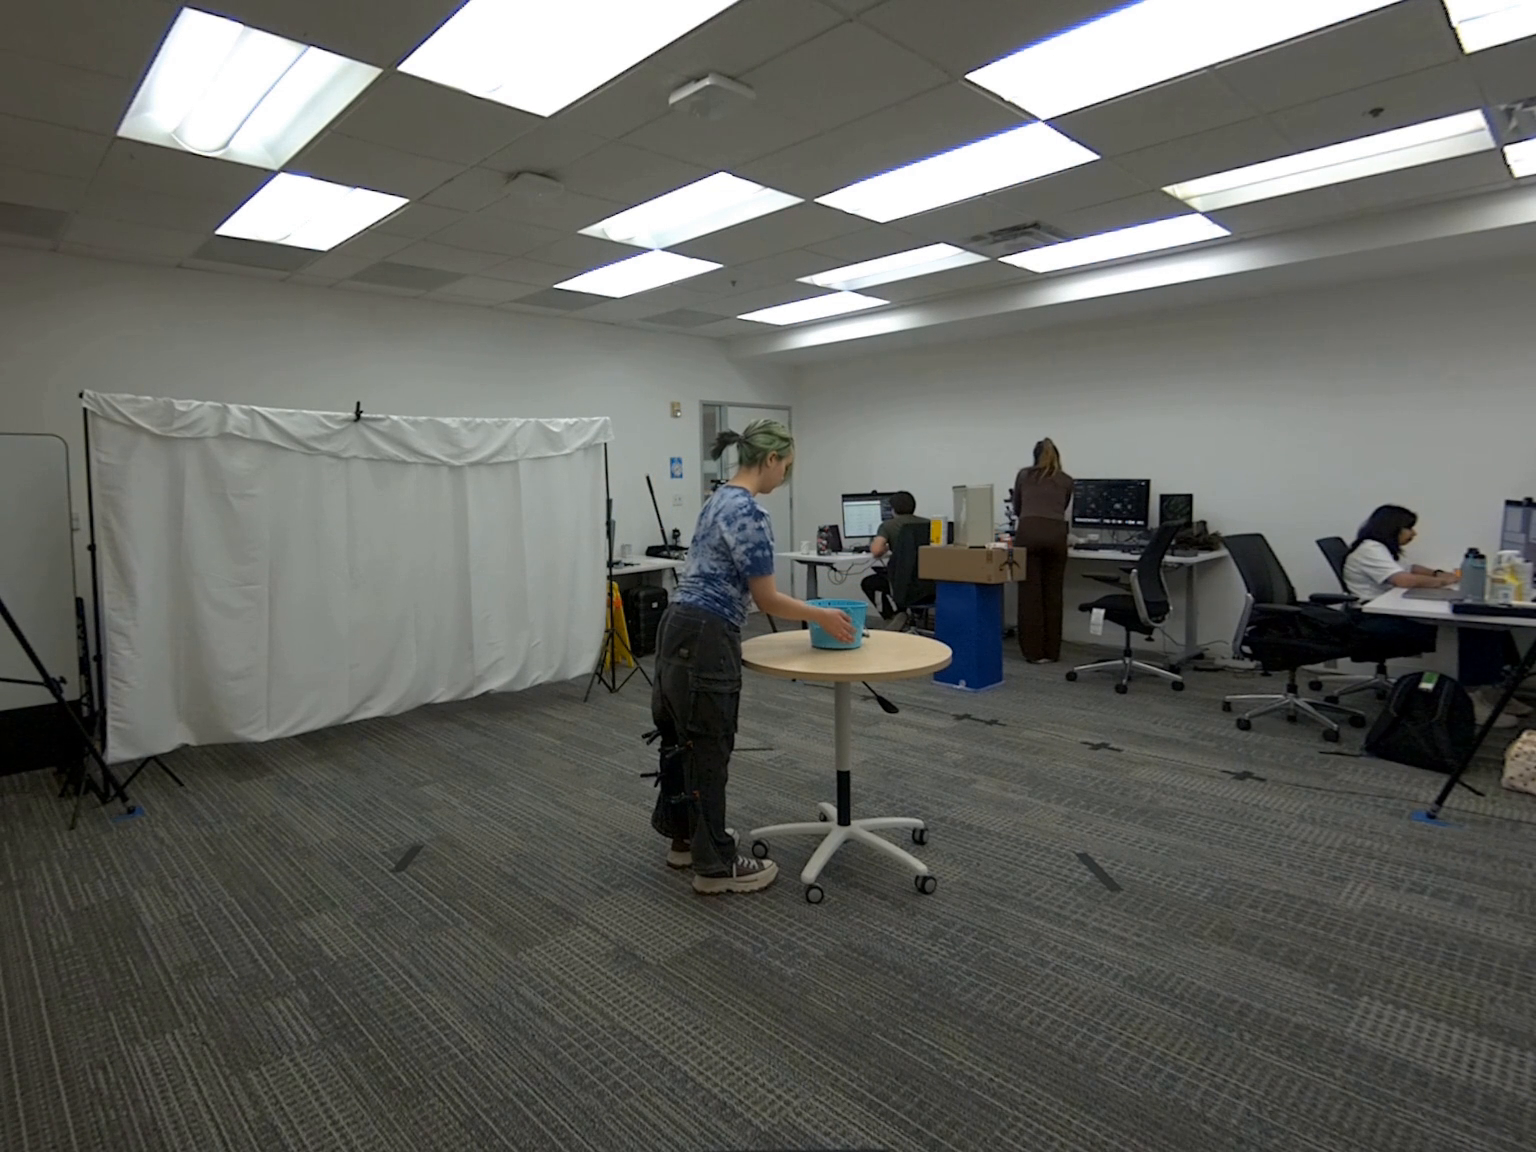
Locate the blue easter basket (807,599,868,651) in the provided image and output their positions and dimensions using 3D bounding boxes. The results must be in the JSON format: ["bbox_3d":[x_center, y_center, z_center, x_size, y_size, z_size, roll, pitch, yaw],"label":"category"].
[{"bbox_3d":[0.246,0.181,3.128,0.243,0.155,0.245,-2,5,-2],"label":"blue easter basket"}]
